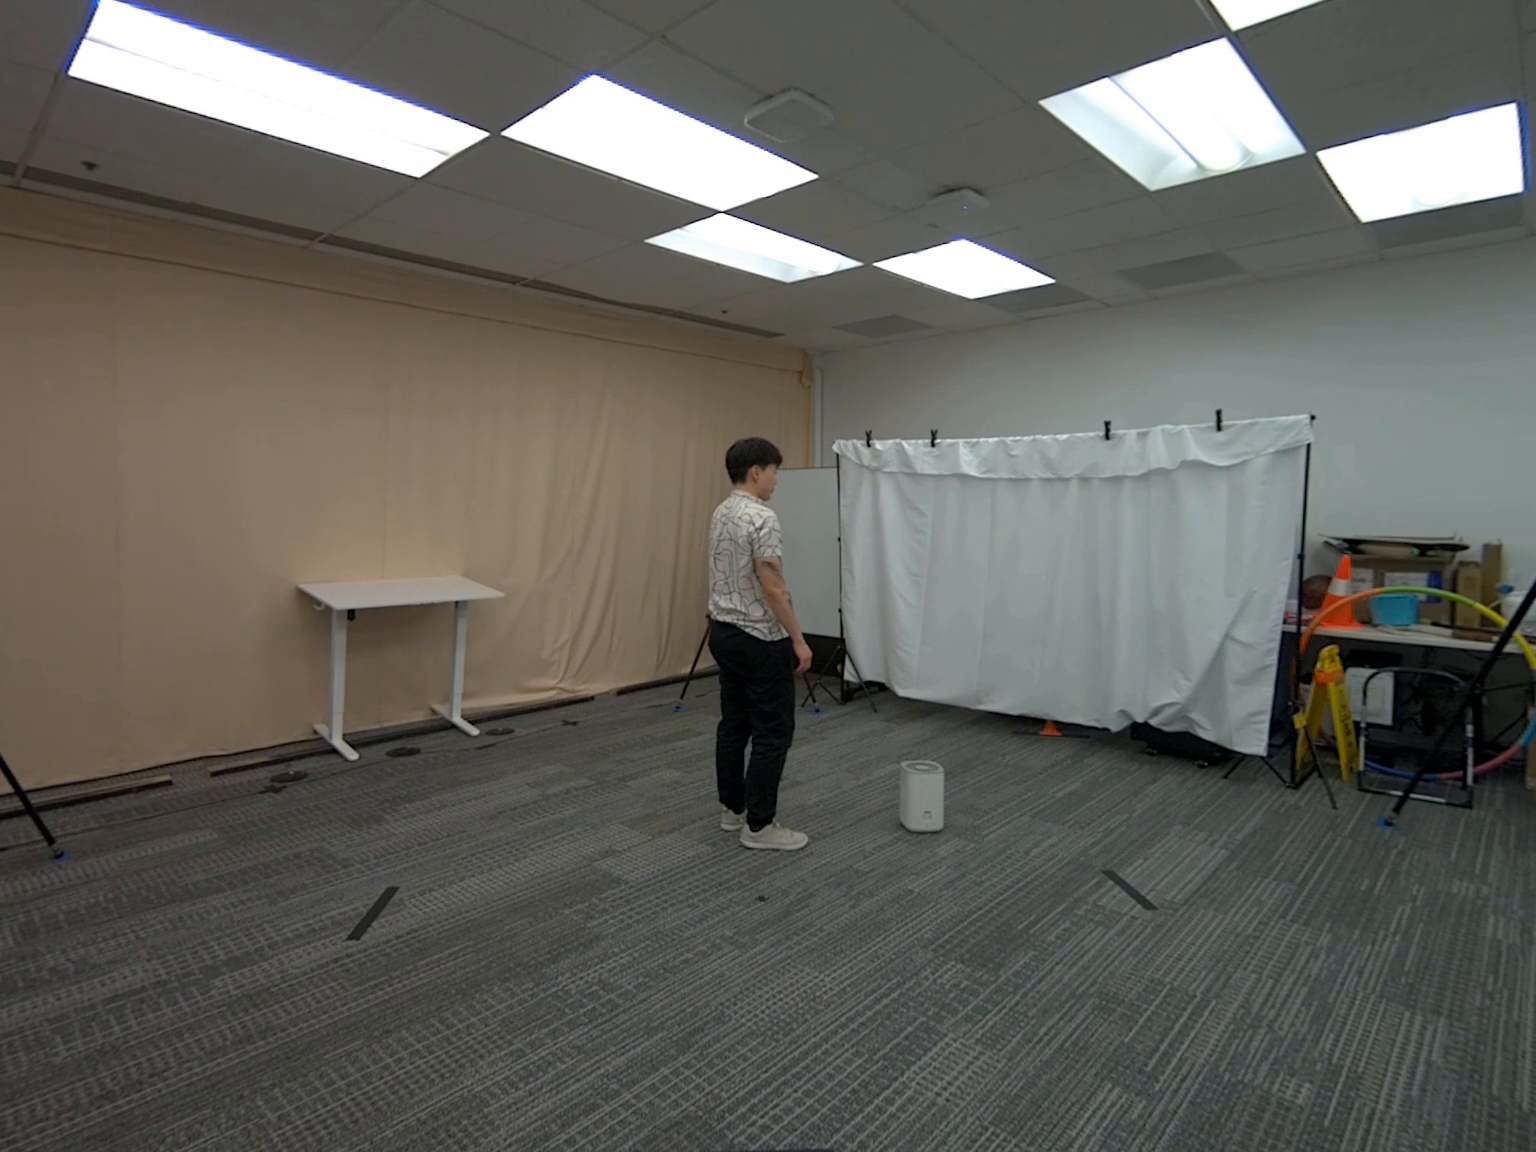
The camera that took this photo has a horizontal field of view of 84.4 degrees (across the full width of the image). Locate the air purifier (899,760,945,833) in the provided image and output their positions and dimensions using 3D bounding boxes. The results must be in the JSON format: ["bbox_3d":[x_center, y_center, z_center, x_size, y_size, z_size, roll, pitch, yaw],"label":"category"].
[{"bbox_3d":[0.668,0.953,3.640,0.171,0.265,0.172,0,4,-5],"label":"air purifier"}]
